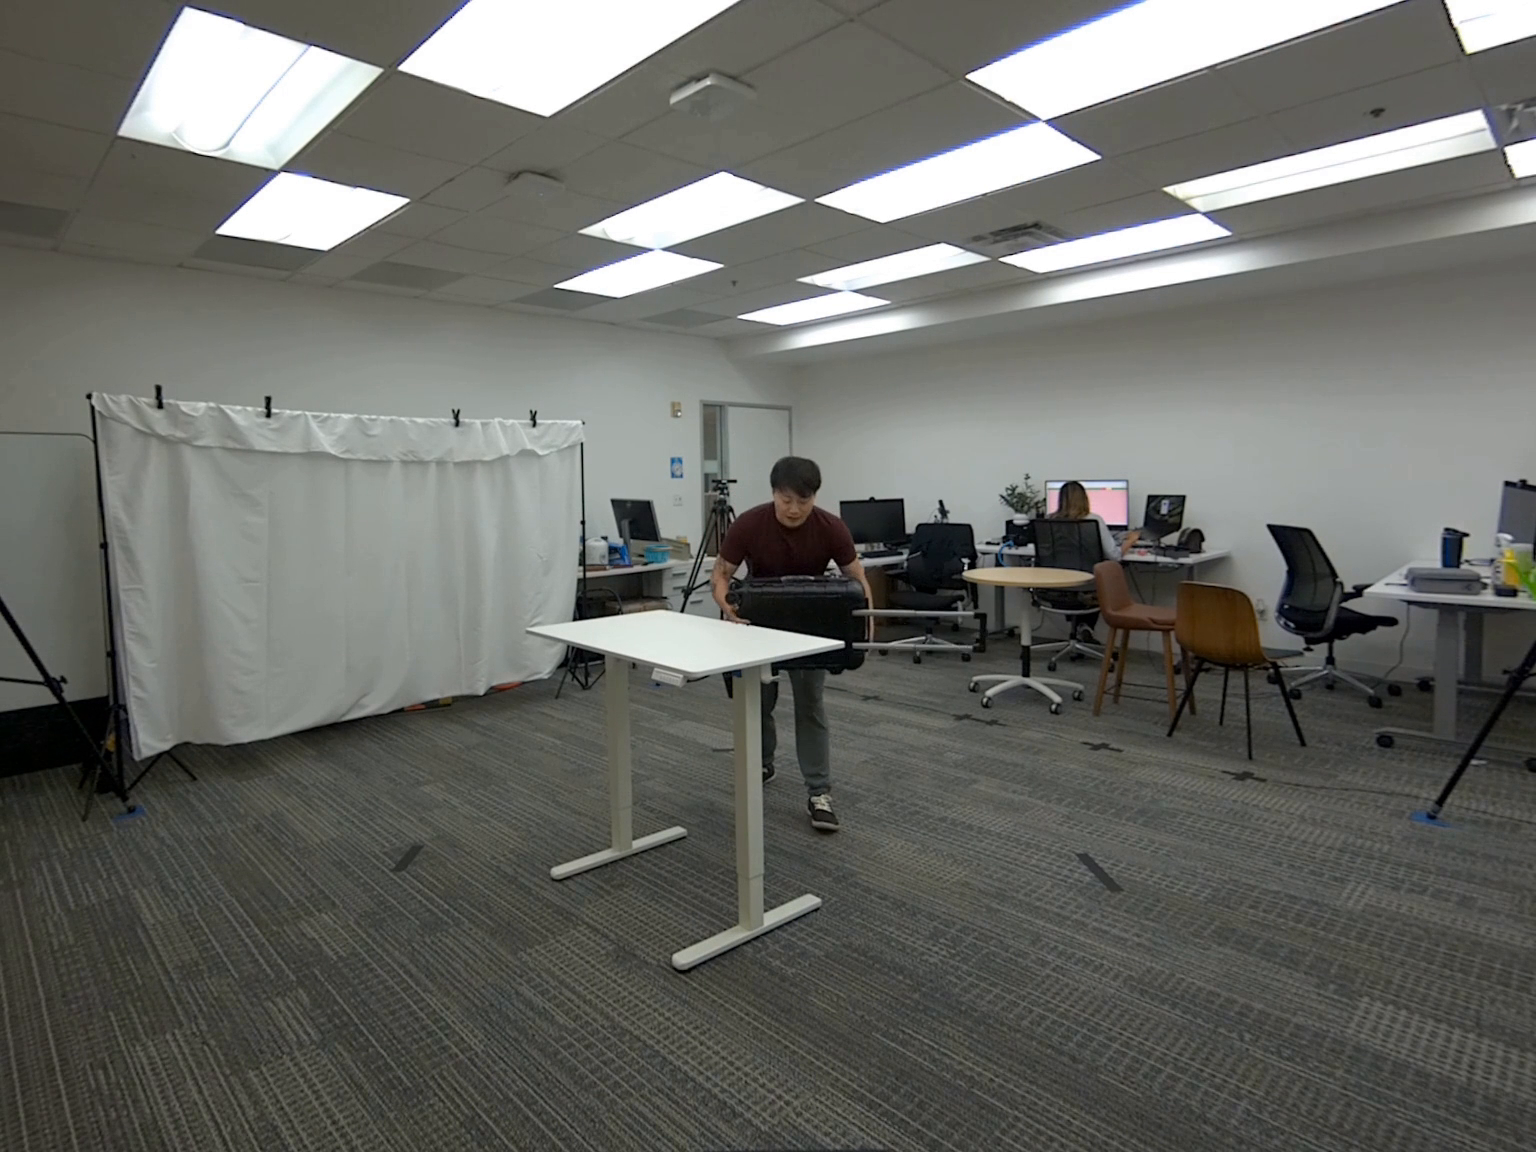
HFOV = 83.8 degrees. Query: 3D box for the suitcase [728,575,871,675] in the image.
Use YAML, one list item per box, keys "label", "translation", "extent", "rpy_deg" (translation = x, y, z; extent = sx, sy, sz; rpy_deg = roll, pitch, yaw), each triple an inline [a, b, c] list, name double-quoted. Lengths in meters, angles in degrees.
- label: "suitcase"
  translation: [0.325, 0.179, 3.366]
  extent: [0.984, 0.381, 0.257]
  rpy_deg: [-3, 8, 6]
